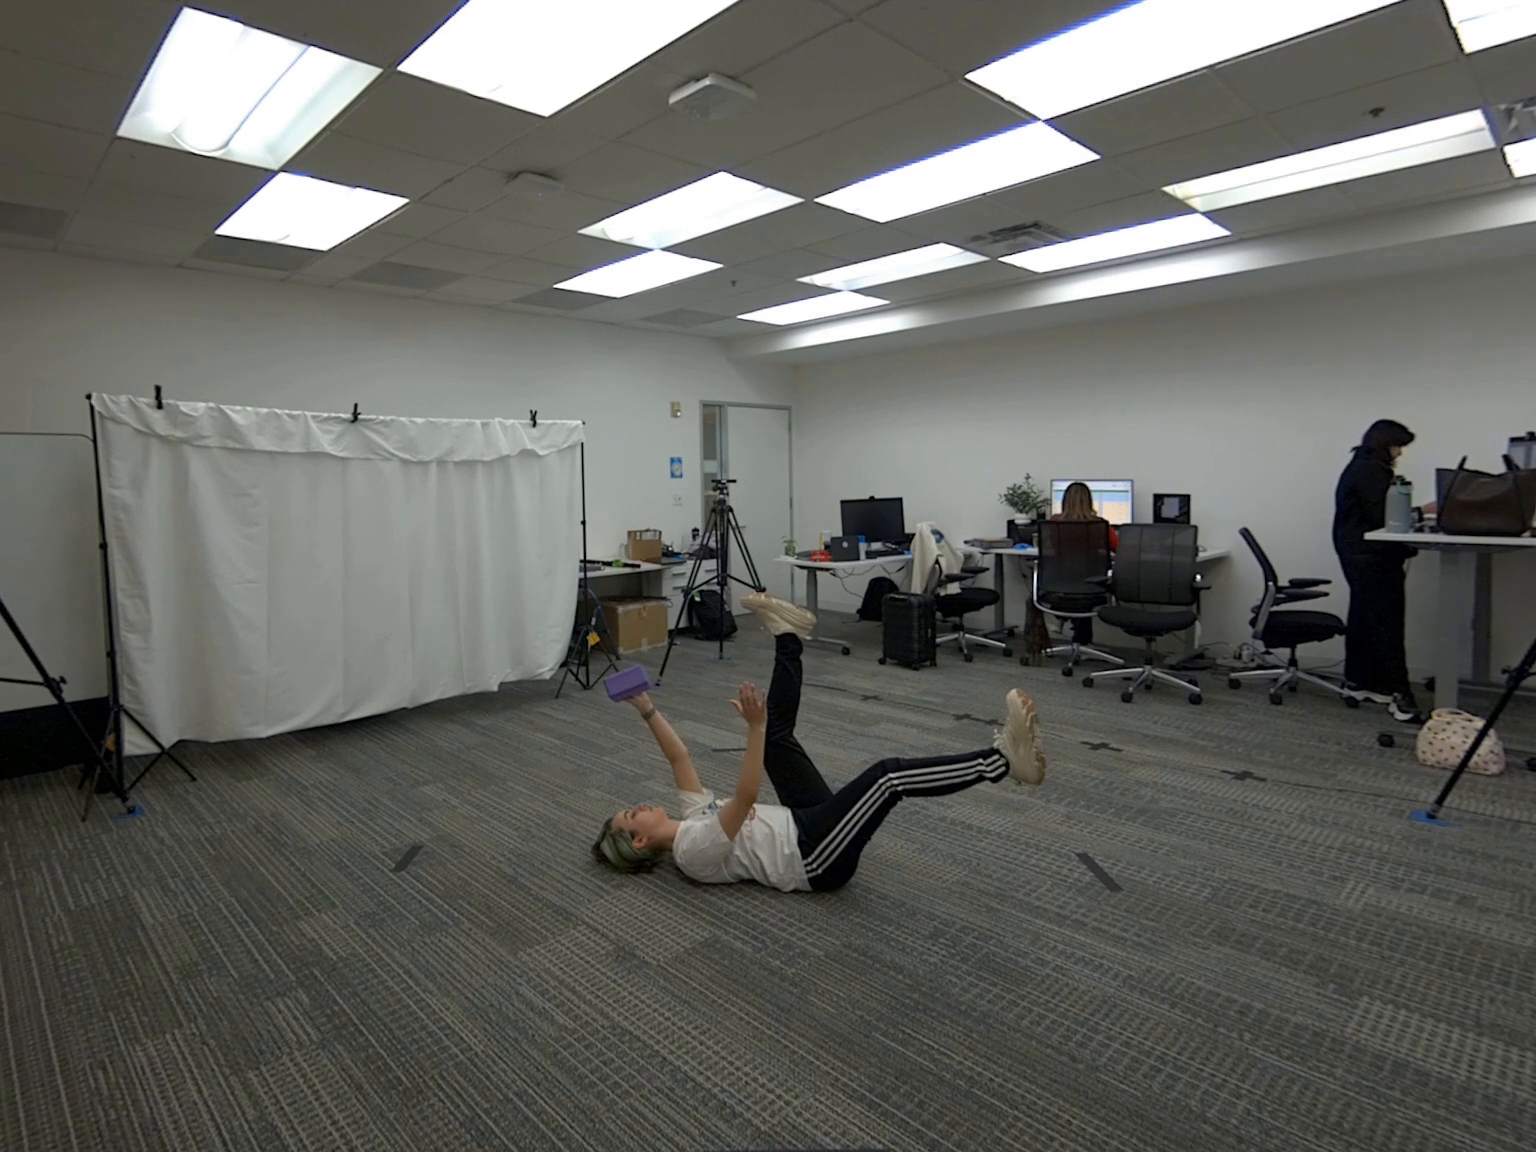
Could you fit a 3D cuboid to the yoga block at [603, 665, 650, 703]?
[{"bbox_3d":[-0.511,0.392,3.084,0.148,0.077,0.227,-21,-11,-11],"label":"yoga block"}]
